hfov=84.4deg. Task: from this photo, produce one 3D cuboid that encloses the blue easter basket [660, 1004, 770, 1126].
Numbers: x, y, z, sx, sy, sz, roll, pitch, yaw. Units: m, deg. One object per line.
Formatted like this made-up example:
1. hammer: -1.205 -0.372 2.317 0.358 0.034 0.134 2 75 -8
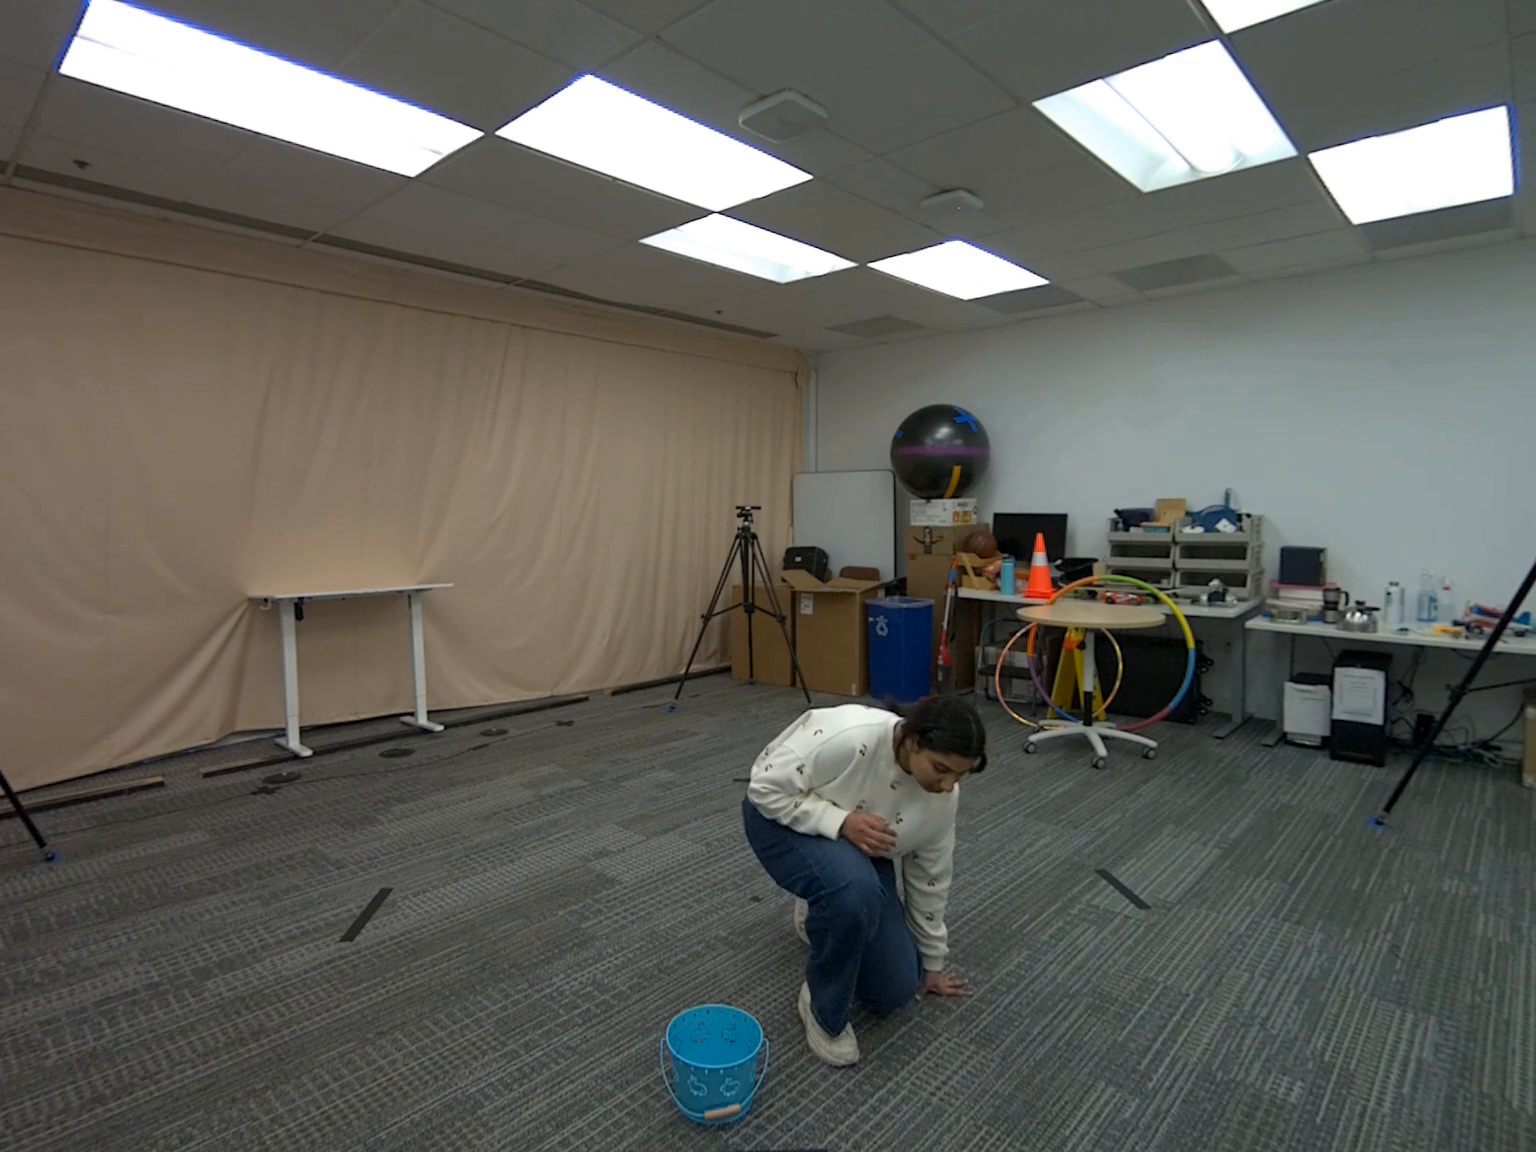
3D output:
1. blue easter basket: -0.127 1.155 1.974 0.243 0.155 0.244 0 4 -2
